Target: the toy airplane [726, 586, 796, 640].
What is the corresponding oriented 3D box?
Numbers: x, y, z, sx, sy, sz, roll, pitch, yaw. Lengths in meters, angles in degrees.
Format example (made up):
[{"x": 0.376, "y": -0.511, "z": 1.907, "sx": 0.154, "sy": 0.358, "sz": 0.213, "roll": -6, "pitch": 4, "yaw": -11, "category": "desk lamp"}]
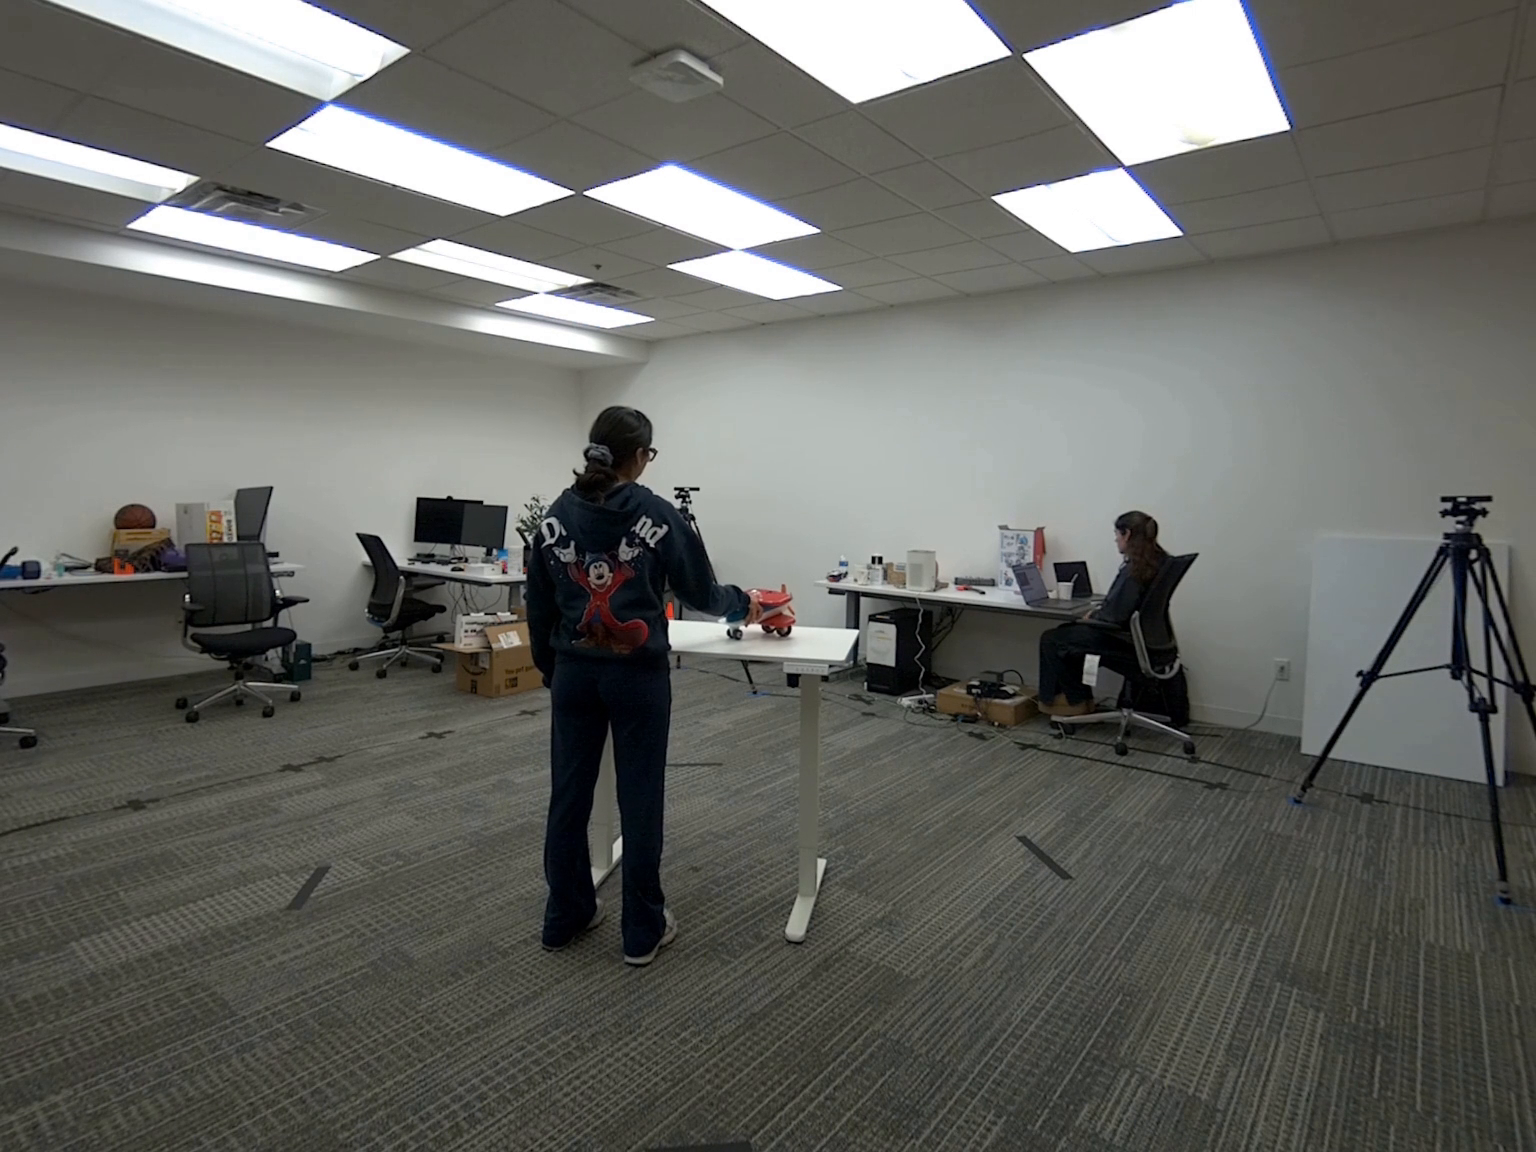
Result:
[{"x": -0.027, "y": 0.131, "z": 2.915, "sx": 0.258, "sy": 0.156, "sz": 0.253, "roll": 2, "pitch": 4, "yaw": 27, "category": "toy airplane"}]
